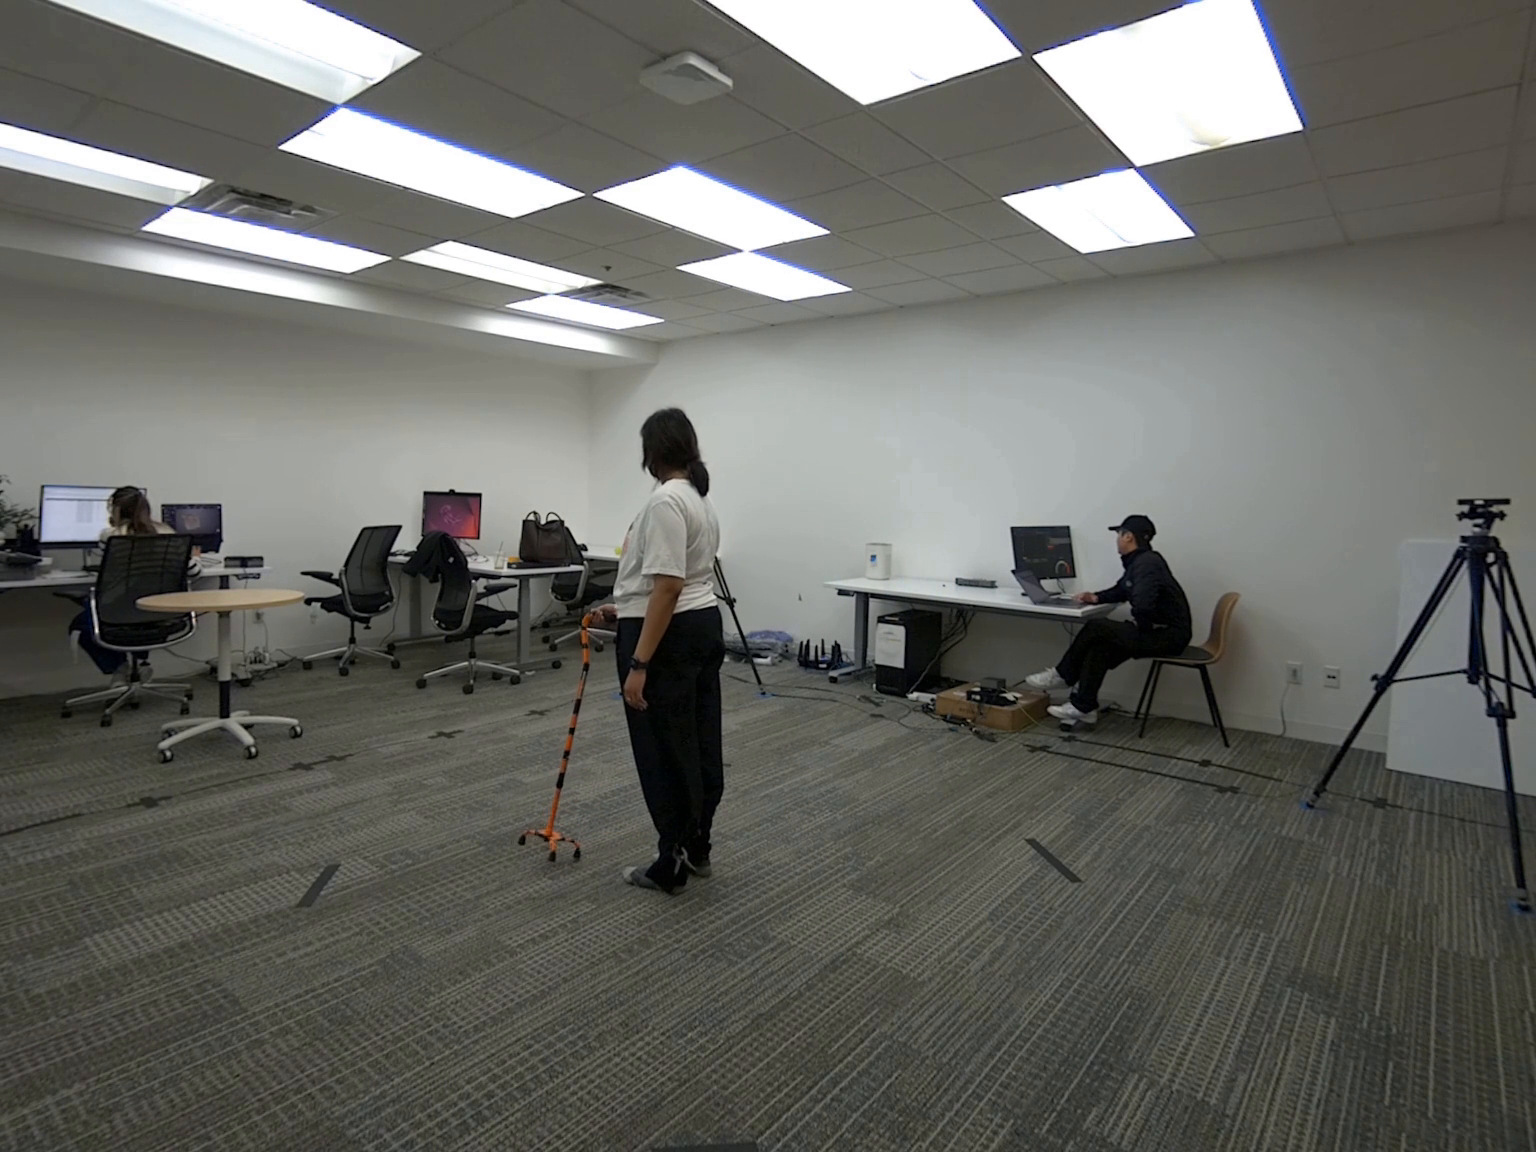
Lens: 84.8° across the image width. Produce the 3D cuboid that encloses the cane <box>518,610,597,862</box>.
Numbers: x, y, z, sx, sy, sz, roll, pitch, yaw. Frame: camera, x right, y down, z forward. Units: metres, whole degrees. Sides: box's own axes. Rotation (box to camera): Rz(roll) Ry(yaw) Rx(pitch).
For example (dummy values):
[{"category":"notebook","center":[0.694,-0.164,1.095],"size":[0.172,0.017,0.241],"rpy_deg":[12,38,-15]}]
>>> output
[{"category":"cane","center":[-0.741,0.583,3.211],"size":[0.214,0.911,0.146],"rpy_deg":[8,-6,43]}]
